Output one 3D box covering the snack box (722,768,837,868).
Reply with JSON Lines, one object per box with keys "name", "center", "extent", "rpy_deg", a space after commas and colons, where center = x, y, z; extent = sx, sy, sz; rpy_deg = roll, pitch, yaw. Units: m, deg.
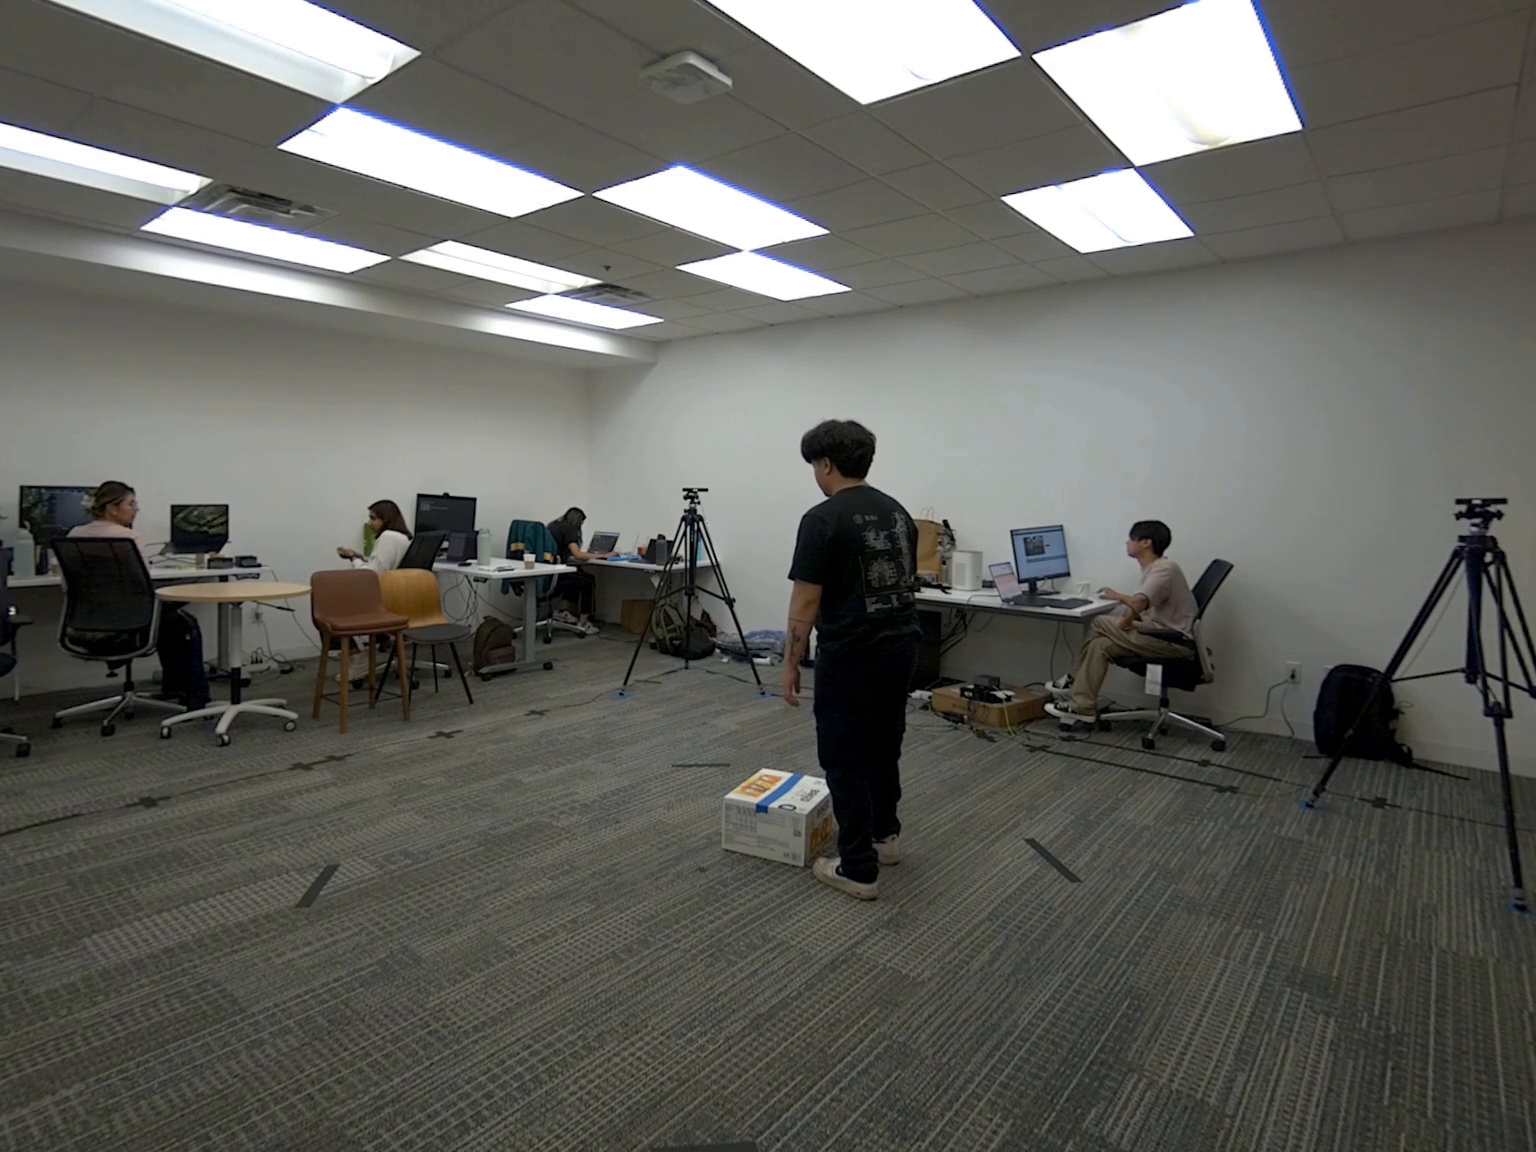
{"name": "snack box", "center": [0.048, 0.945, 3.381], "extent": [0.349, 0.205, 0.396], "rpy_deg": [4, 5, 24]}
